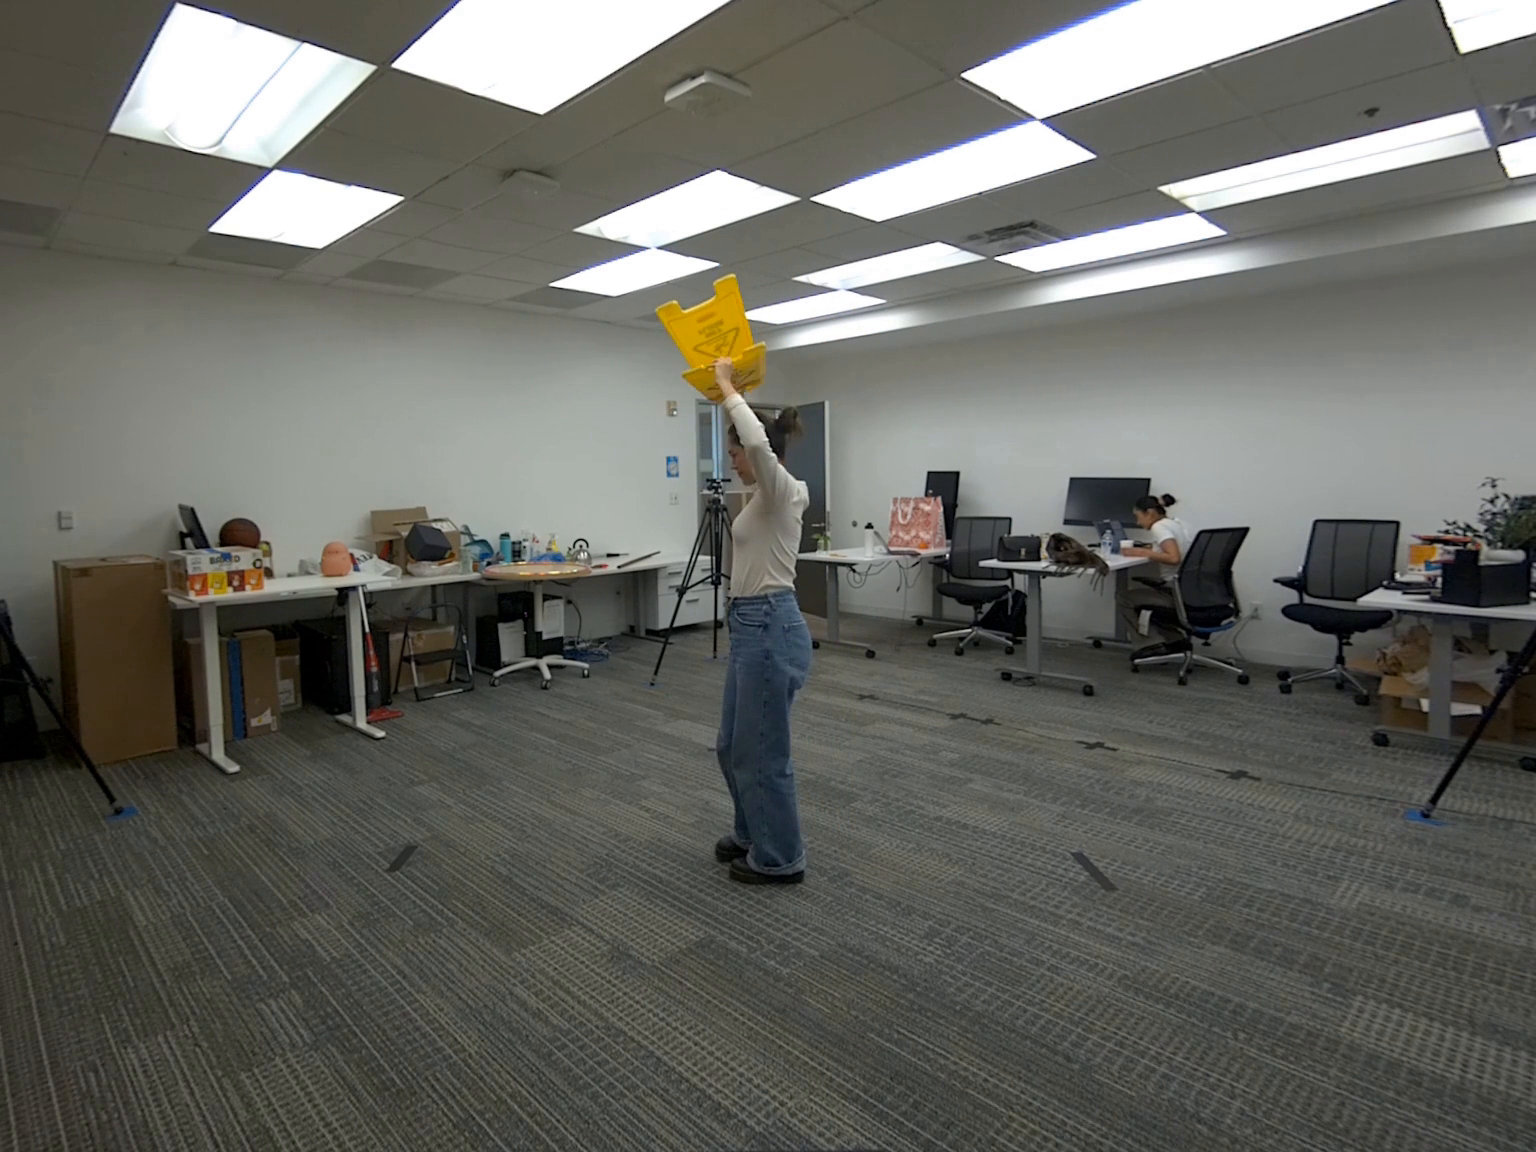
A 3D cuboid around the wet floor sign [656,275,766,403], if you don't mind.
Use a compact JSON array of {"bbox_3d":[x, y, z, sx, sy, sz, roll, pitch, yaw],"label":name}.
[{"bbox_3d":[-0.149,-0.751,3.003,0.283,0.293,0.637,-23,-8,4],"label":"wet floor sign"}]
